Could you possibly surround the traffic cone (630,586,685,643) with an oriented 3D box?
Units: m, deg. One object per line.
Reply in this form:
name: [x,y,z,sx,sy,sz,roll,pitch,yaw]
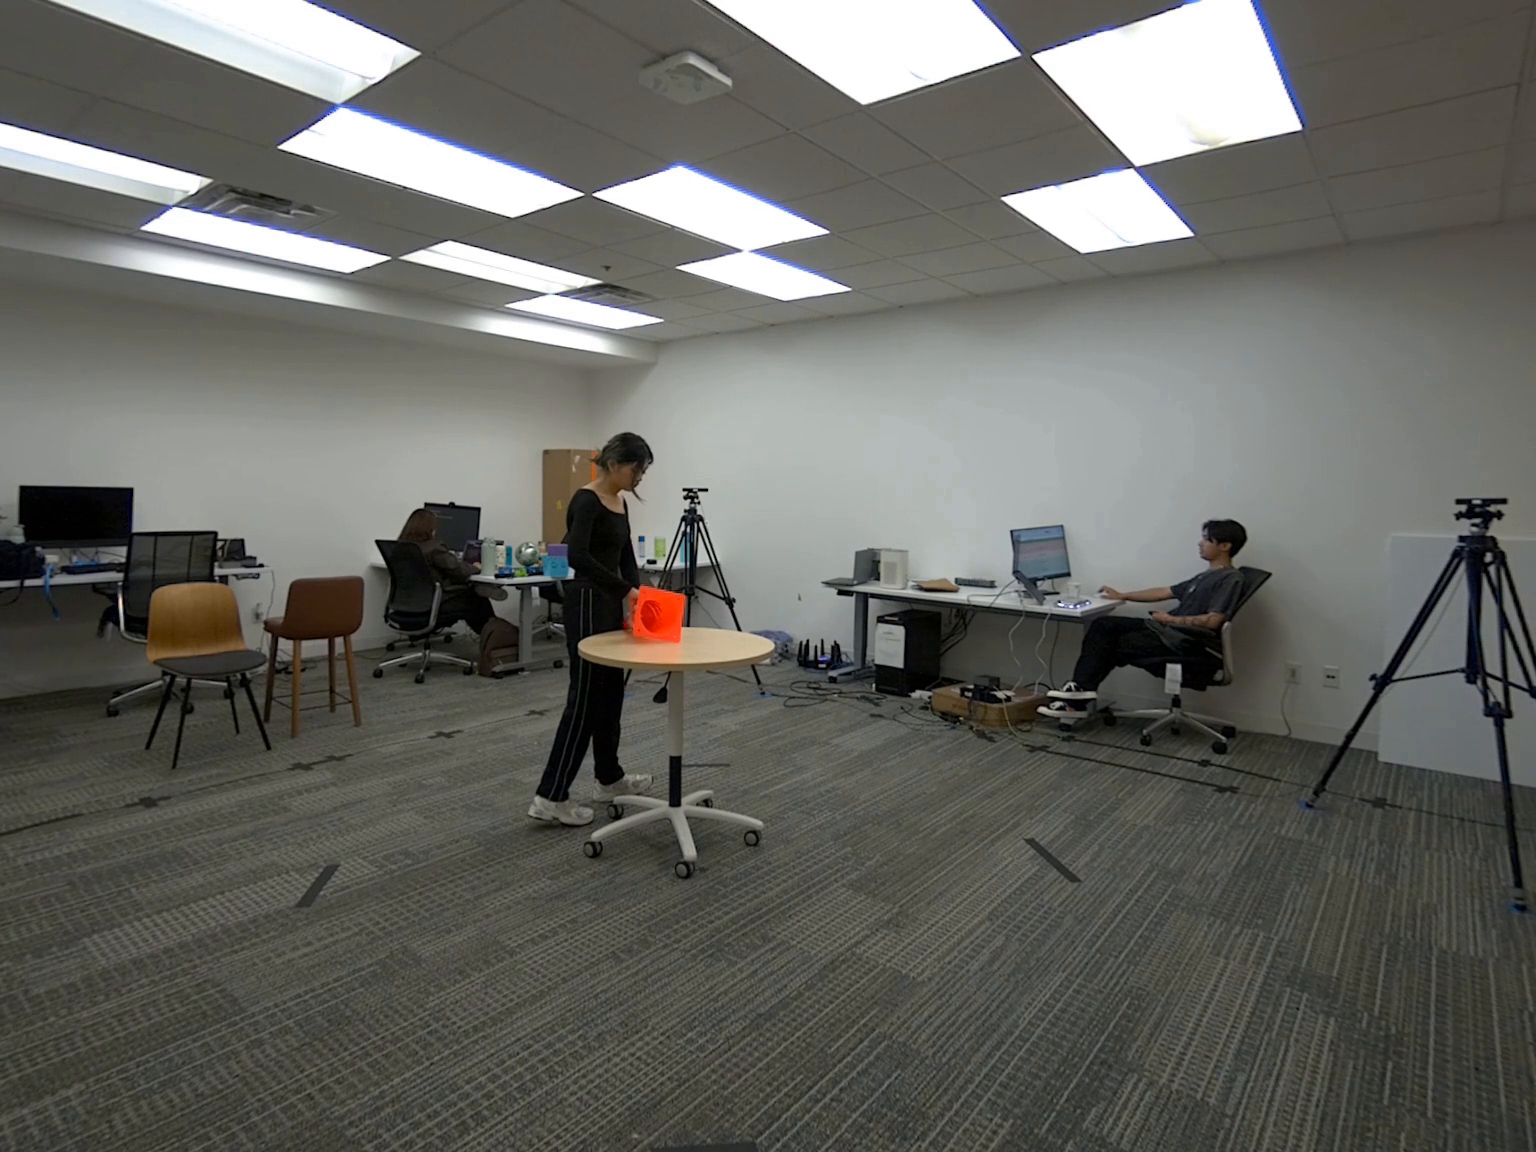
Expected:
traffic cone: [-0.529,0.180,3.506,0.199,0.206,0.389,12,-16,-24]
